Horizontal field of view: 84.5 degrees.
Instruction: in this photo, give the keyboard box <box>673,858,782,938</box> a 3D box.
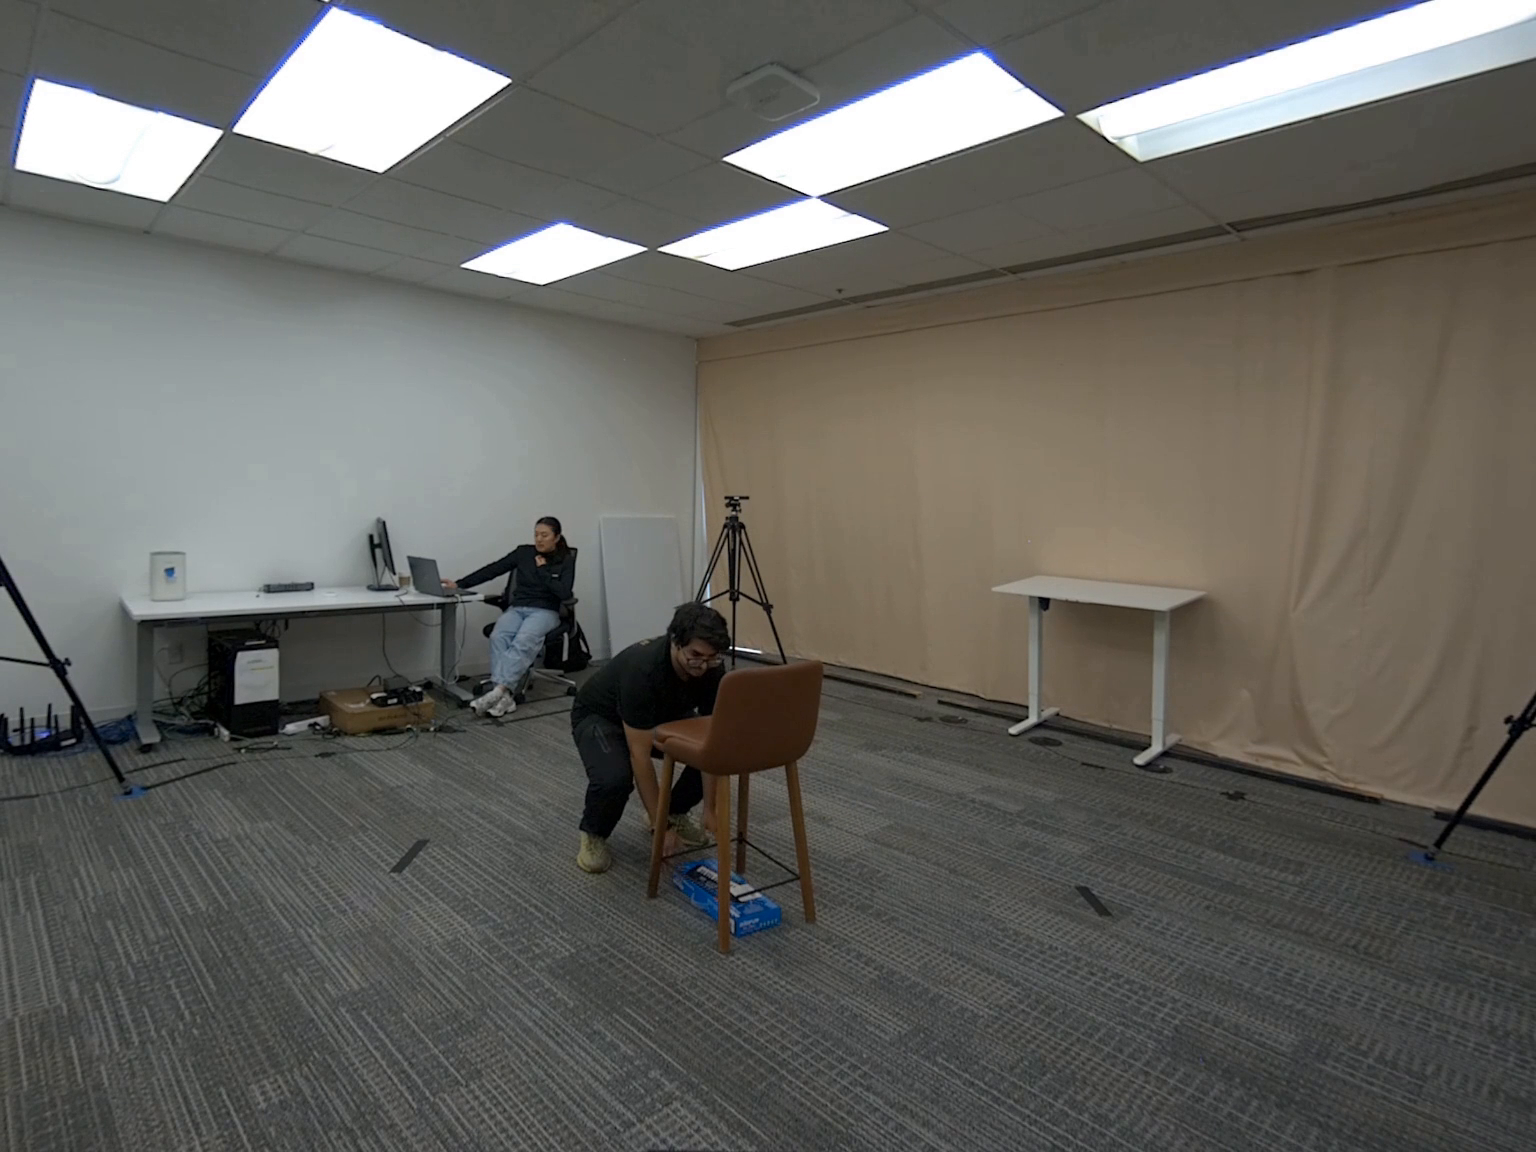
[{"bbox_3d":[-0.152,1.098,2.884,0.172,0.059,0.447,-4,7,-33],"label":"keyboard box"}]
